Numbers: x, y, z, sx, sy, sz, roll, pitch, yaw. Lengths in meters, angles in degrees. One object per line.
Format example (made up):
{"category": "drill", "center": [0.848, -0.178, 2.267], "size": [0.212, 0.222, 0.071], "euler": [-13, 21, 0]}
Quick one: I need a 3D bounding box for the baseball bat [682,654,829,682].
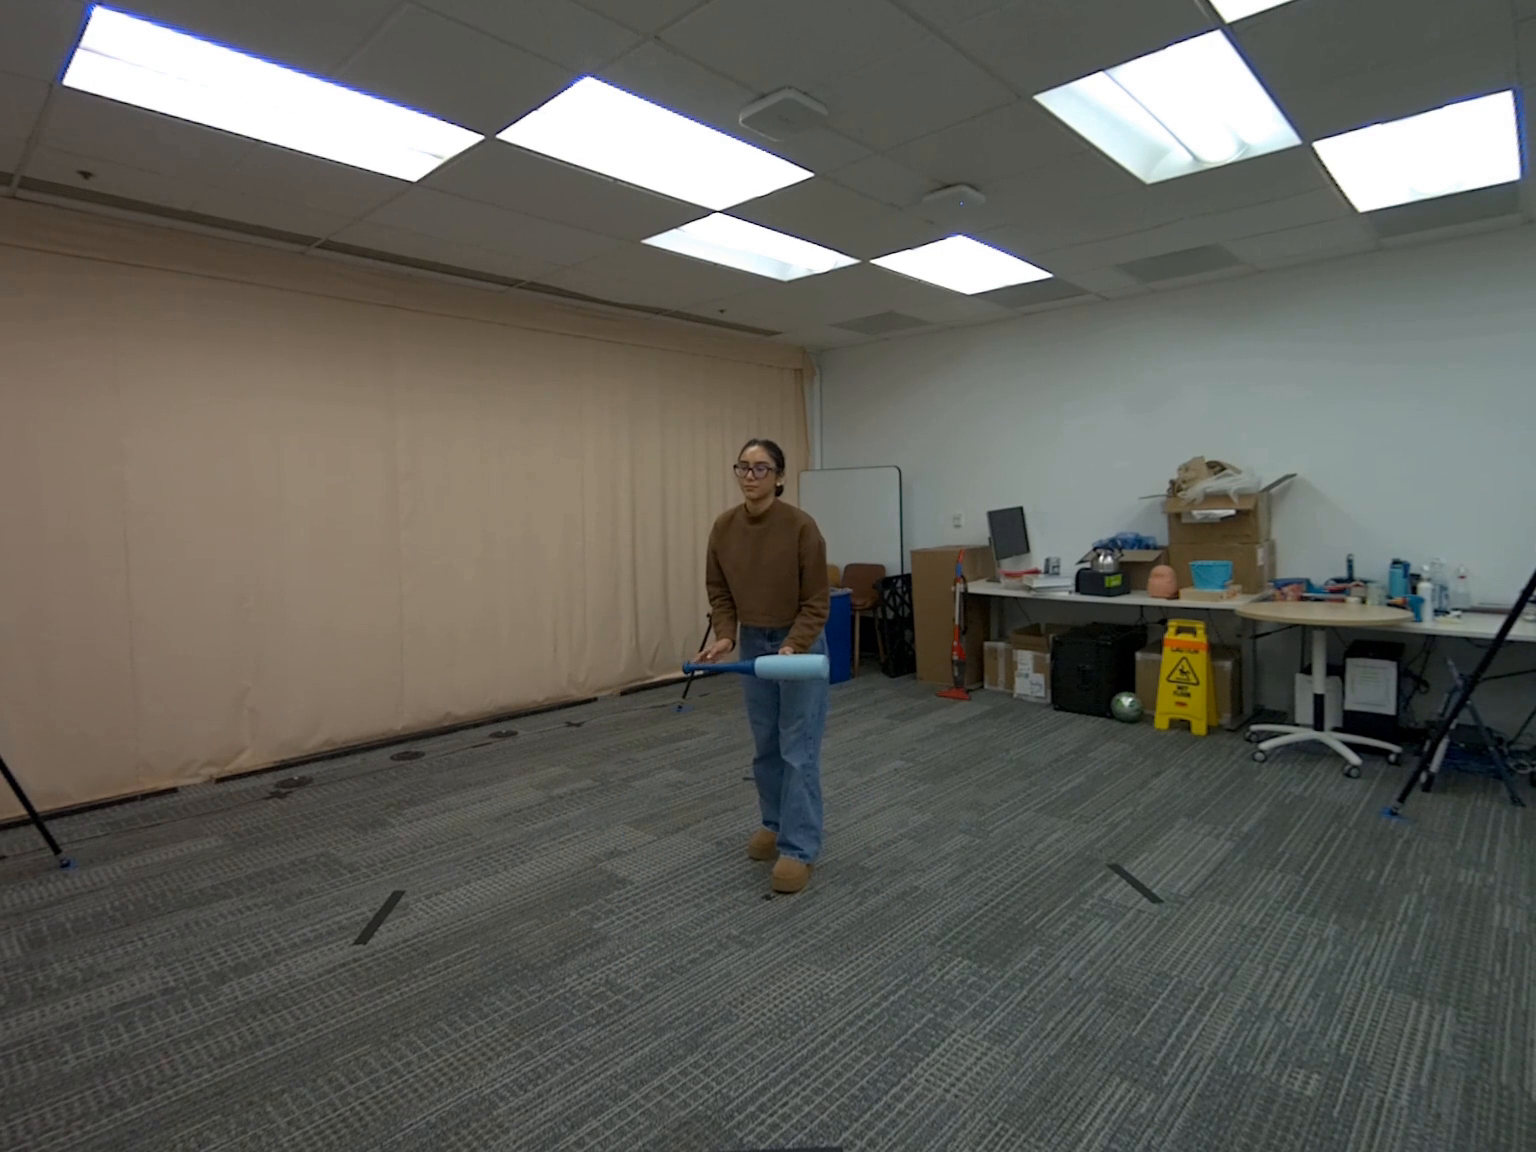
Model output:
{"category": "baseball bat", "center": [-0.050, 0.326, 2.966], "size": [0.556, 0.089, 0.087], "euler": [-2, 3, 24]}
